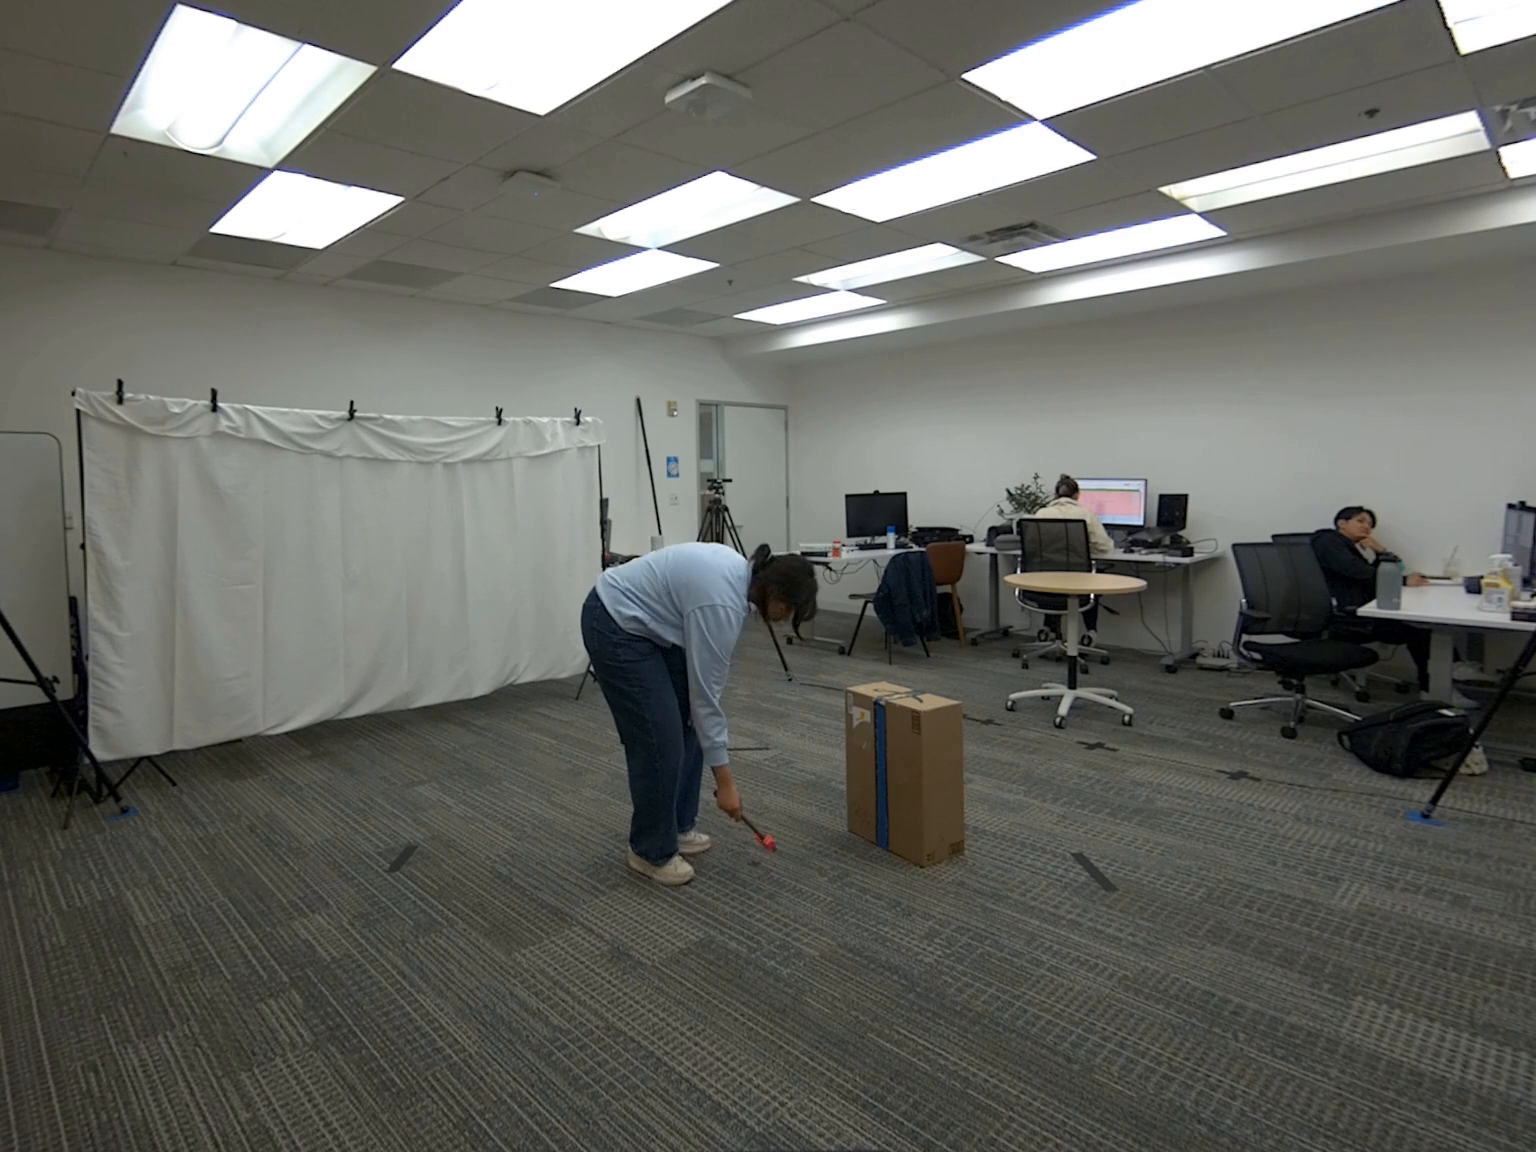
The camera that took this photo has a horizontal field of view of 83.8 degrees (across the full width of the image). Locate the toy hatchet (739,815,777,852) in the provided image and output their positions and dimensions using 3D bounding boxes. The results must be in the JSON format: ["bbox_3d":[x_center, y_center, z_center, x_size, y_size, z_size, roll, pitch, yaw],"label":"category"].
[{"bbox_3d":[-0.069,0.823,2.867,0.280,0.127,0.029,35,64,31],"label":"toy hatchet"}]
